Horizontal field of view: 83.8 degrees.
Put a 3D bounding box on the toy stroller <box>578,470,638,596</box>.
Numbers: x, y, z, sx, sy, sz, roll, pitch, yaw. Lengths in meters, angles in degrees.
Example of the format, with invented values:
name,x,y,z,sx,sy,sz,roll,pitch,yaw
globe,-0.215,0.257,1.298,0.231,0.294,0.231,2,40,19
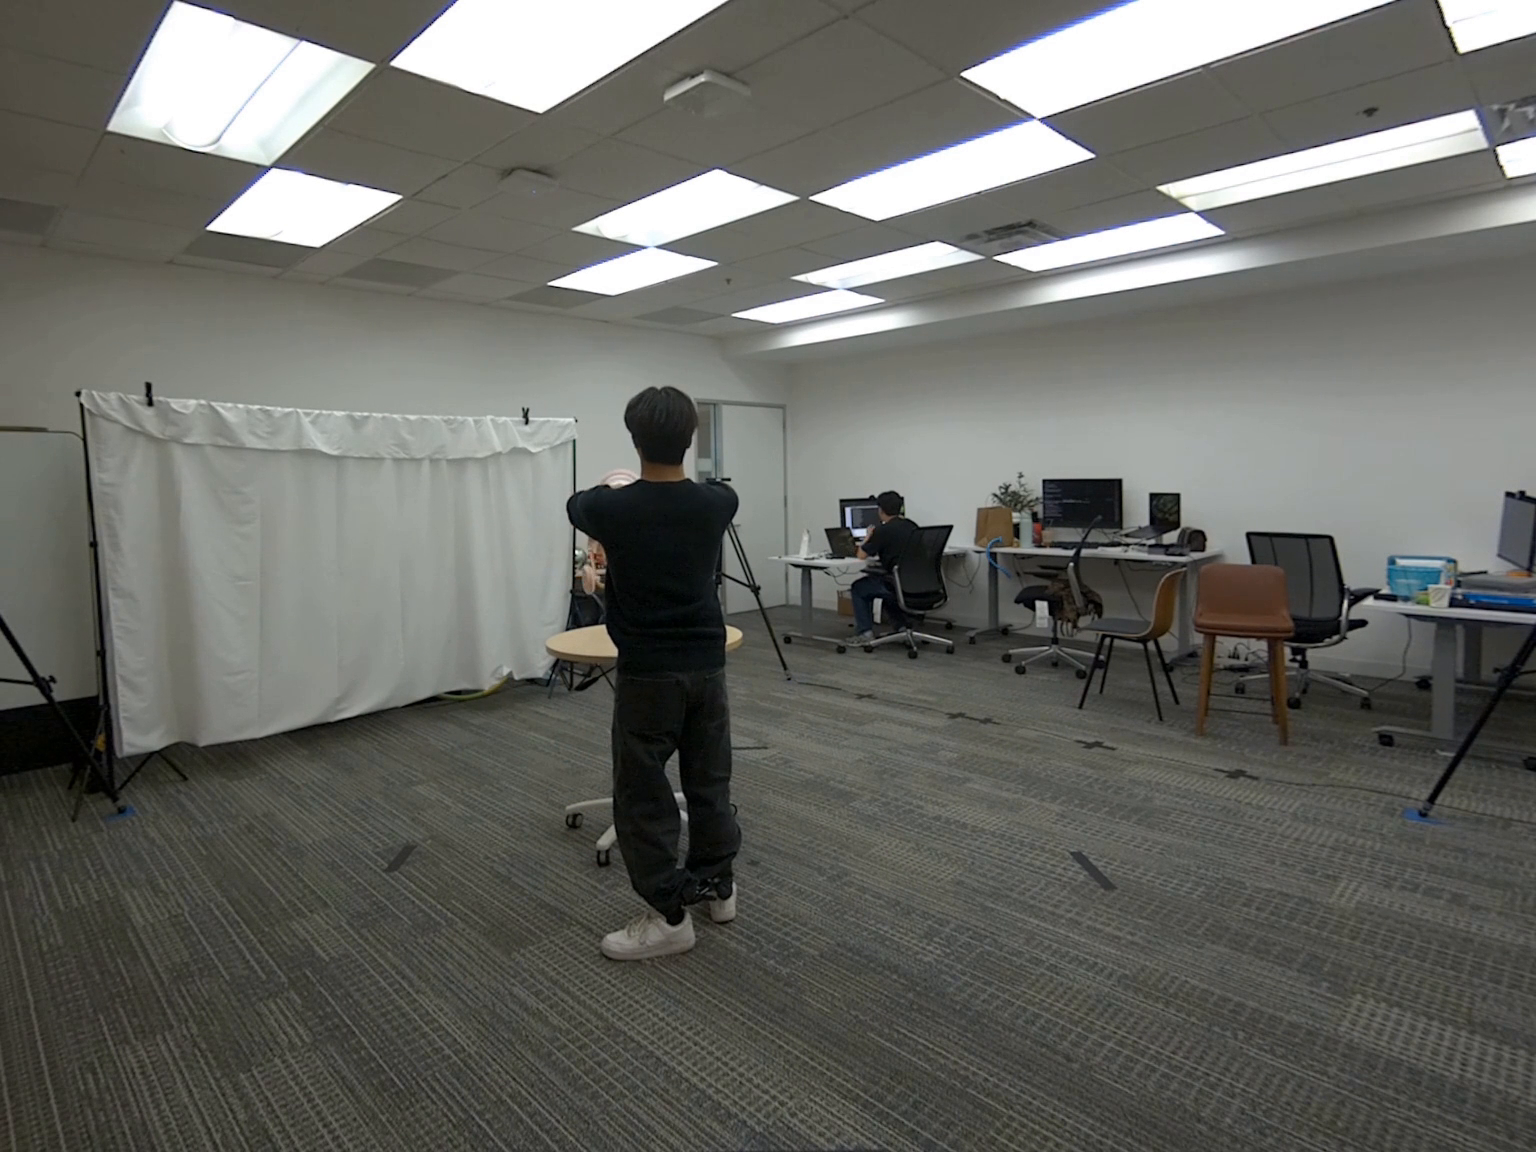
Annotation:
name,x,y,z,sx,sy,sz,roll,pitch,yaw
toy stroller,-0.574,-0.179,3.312,0.277,0.524,0.353,-2,35,-17
